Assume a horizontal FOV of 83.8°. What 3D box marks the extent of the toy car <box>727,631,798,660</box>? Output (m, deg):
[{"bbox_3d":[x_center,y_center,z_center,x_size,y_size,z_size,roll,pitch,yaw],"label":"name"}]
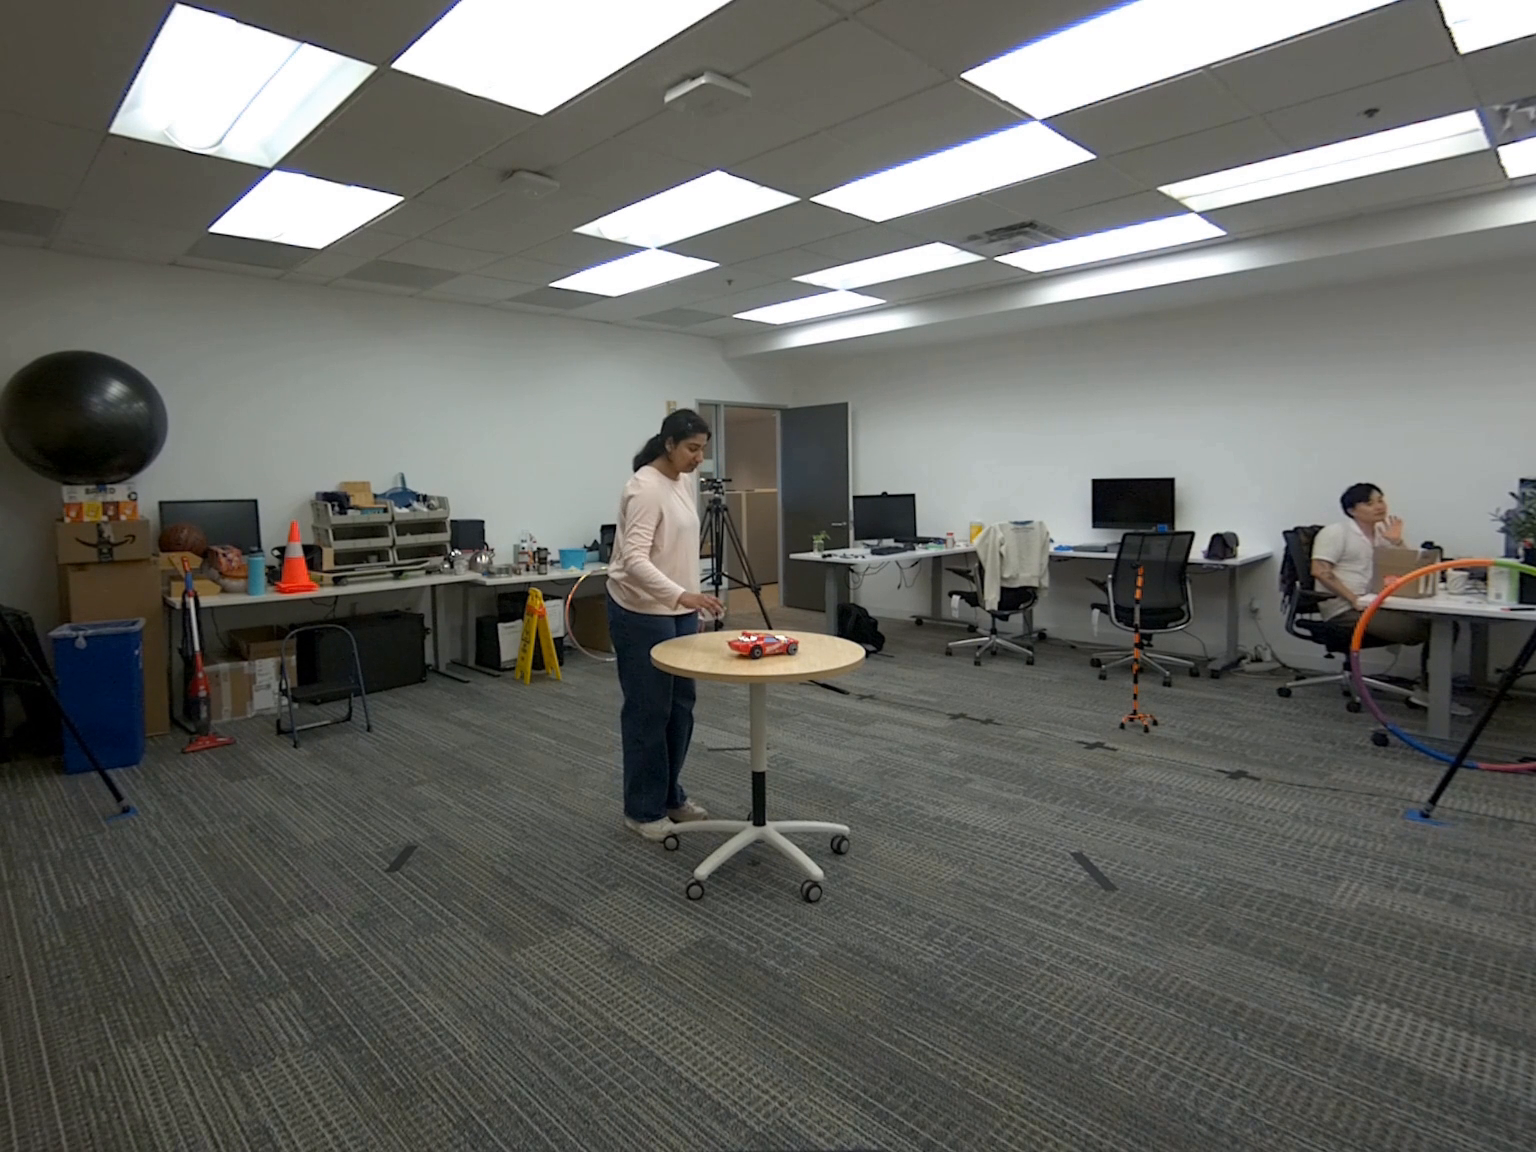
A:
[{"bbox_3d":[-0.018,0.243,2.976,0.248,0.083,0.134,9,1,-27],"label":"toy car"}]
